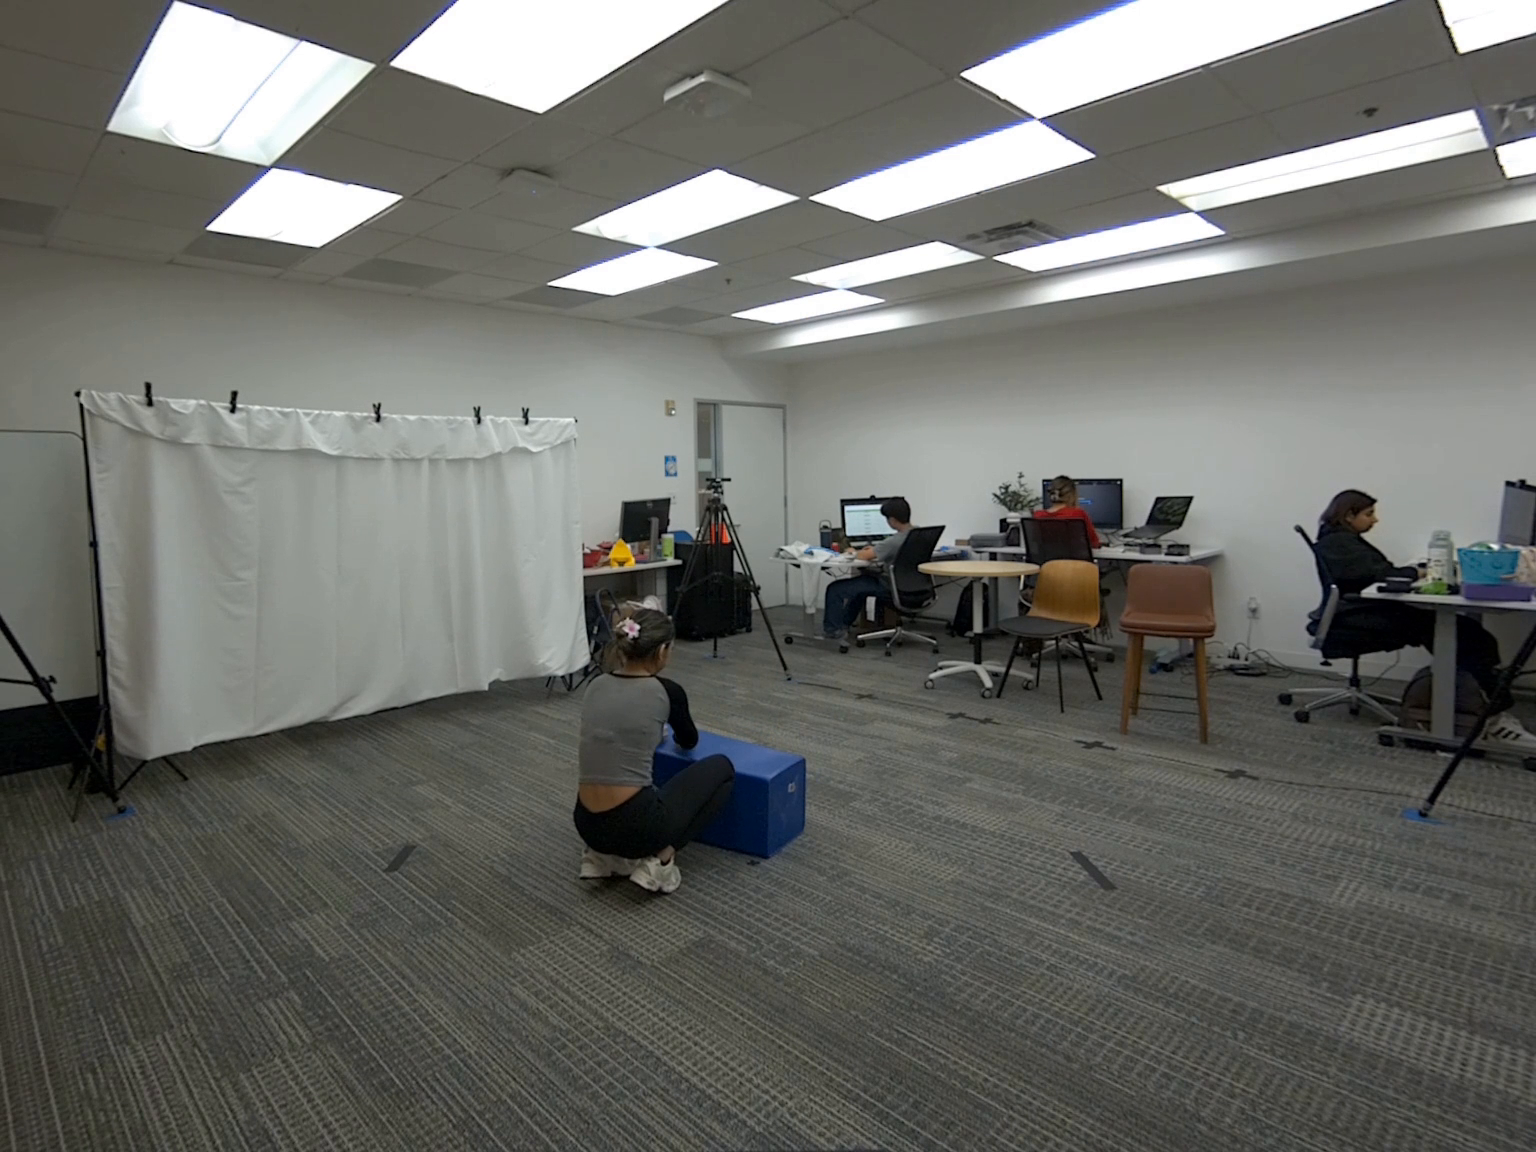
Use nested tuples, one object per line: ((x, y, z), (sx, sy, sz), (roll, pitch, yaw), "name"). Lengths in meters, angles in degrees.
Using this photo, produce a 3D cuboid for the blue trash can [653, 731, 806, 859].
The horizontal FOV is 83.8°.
((-0.233, 0.839, 3.424), (0.733, 0.376, 0.365), (5, 6, 31), "blue trash can")
